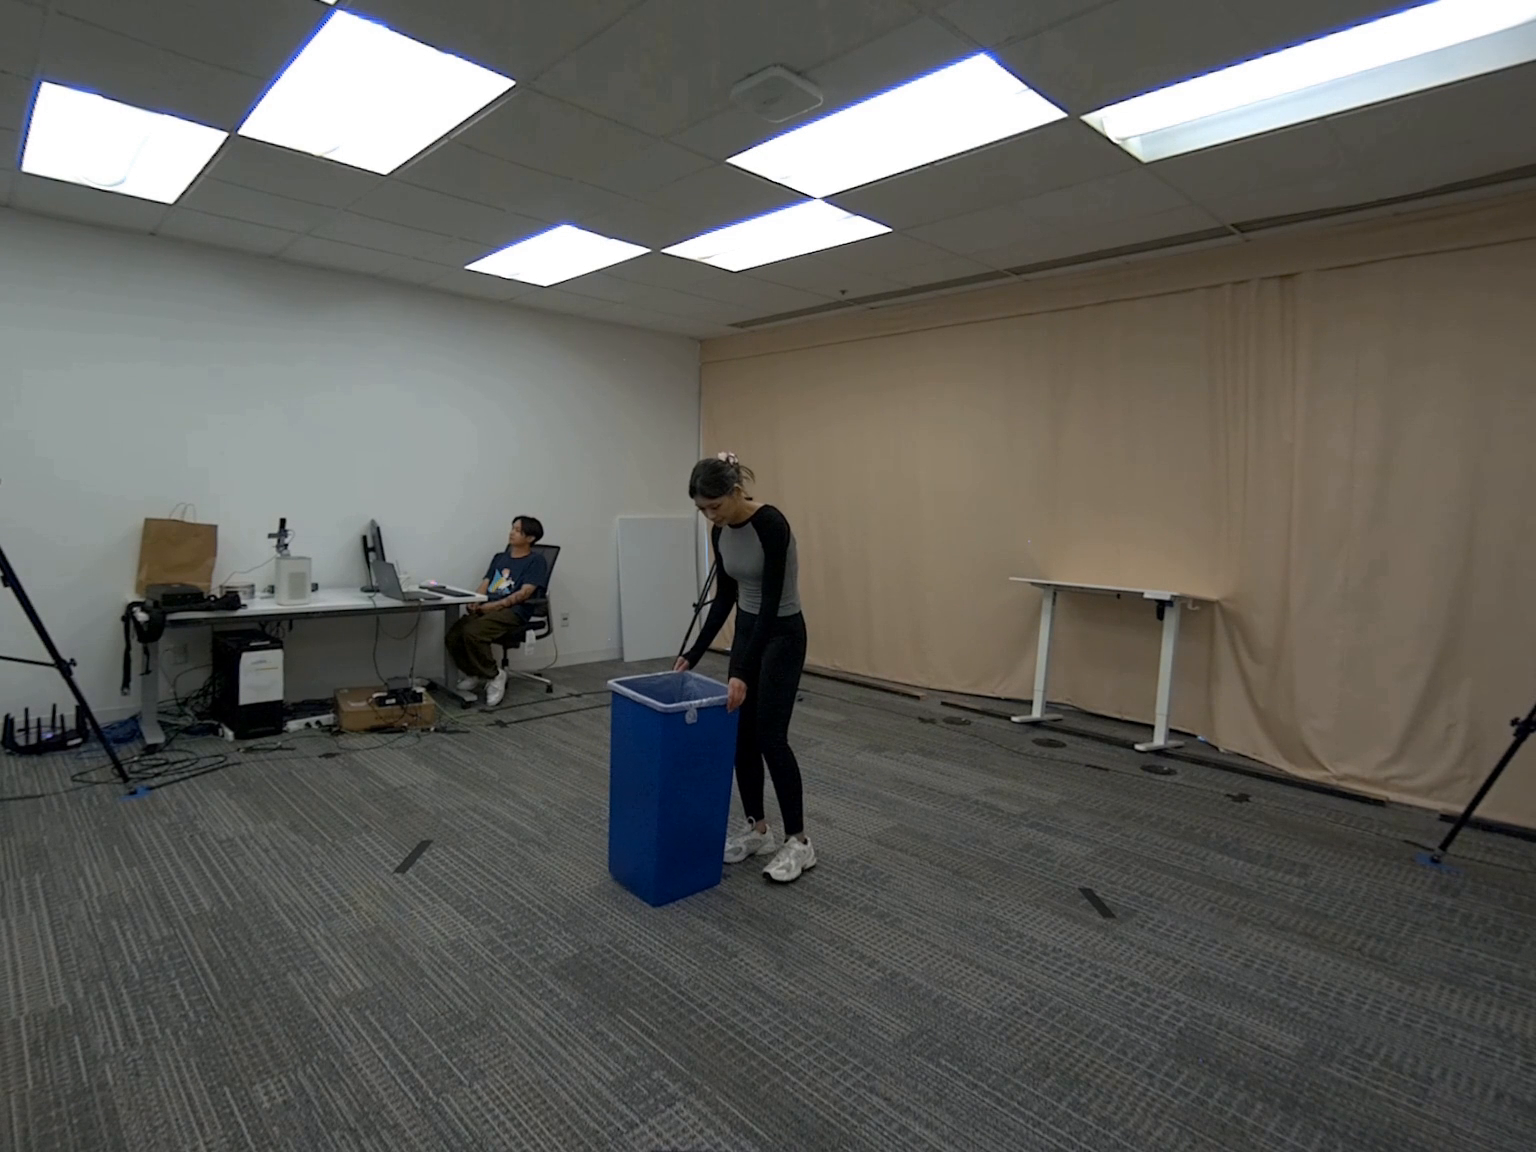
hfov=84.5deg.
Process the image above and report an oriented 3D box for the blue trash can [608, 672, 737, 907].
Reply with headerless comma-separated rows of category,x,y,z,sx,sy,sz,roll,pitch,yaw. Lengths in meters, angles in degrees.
blue trash can,-0.363,0.743,3.018,0.369,0.710,0.384,-1,8,-42
